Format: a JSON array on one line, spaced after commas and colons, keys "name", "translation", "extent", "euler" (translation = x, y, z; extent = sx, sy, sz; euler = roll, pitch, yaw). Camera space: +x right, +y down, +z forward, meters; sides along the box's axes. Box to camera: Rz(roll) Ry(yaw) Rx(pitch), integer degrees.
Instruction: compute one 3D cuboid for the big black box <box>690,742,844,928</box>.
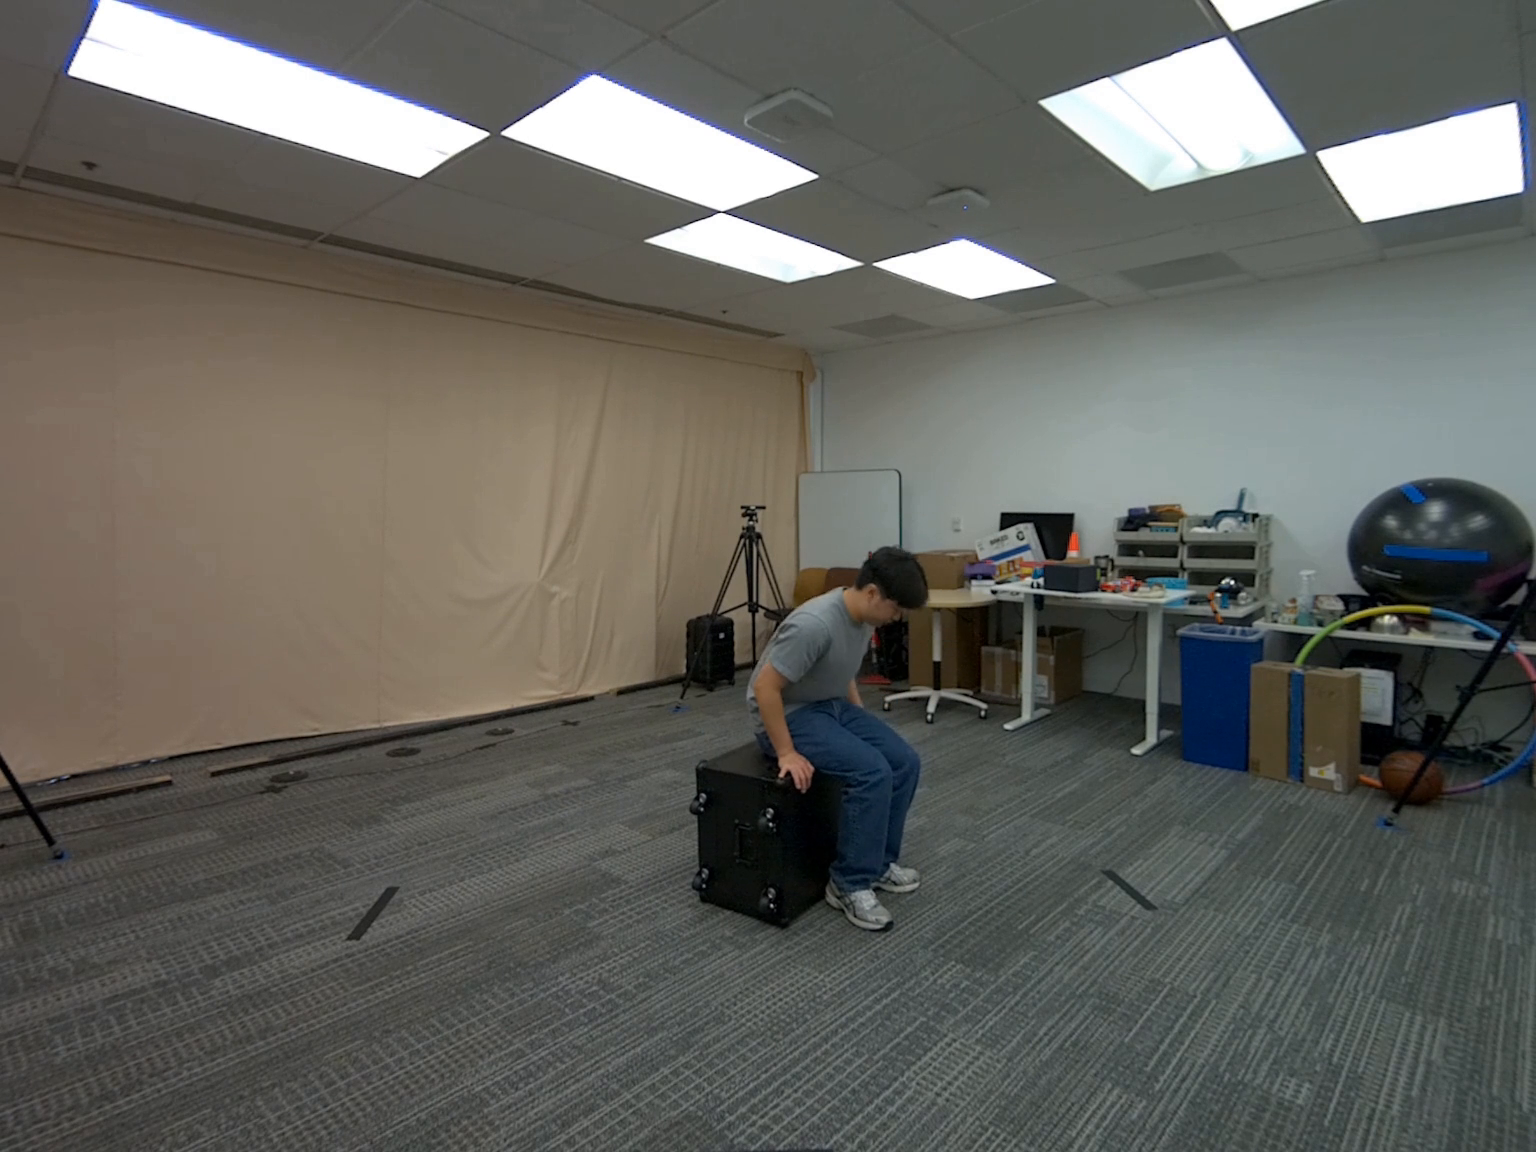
[{"name": "big black box", "translation": [0.083, 0.875, 3.147], "extent": [0.408, 0.520, 0.838], "euler": [0, 4, 33]}]
